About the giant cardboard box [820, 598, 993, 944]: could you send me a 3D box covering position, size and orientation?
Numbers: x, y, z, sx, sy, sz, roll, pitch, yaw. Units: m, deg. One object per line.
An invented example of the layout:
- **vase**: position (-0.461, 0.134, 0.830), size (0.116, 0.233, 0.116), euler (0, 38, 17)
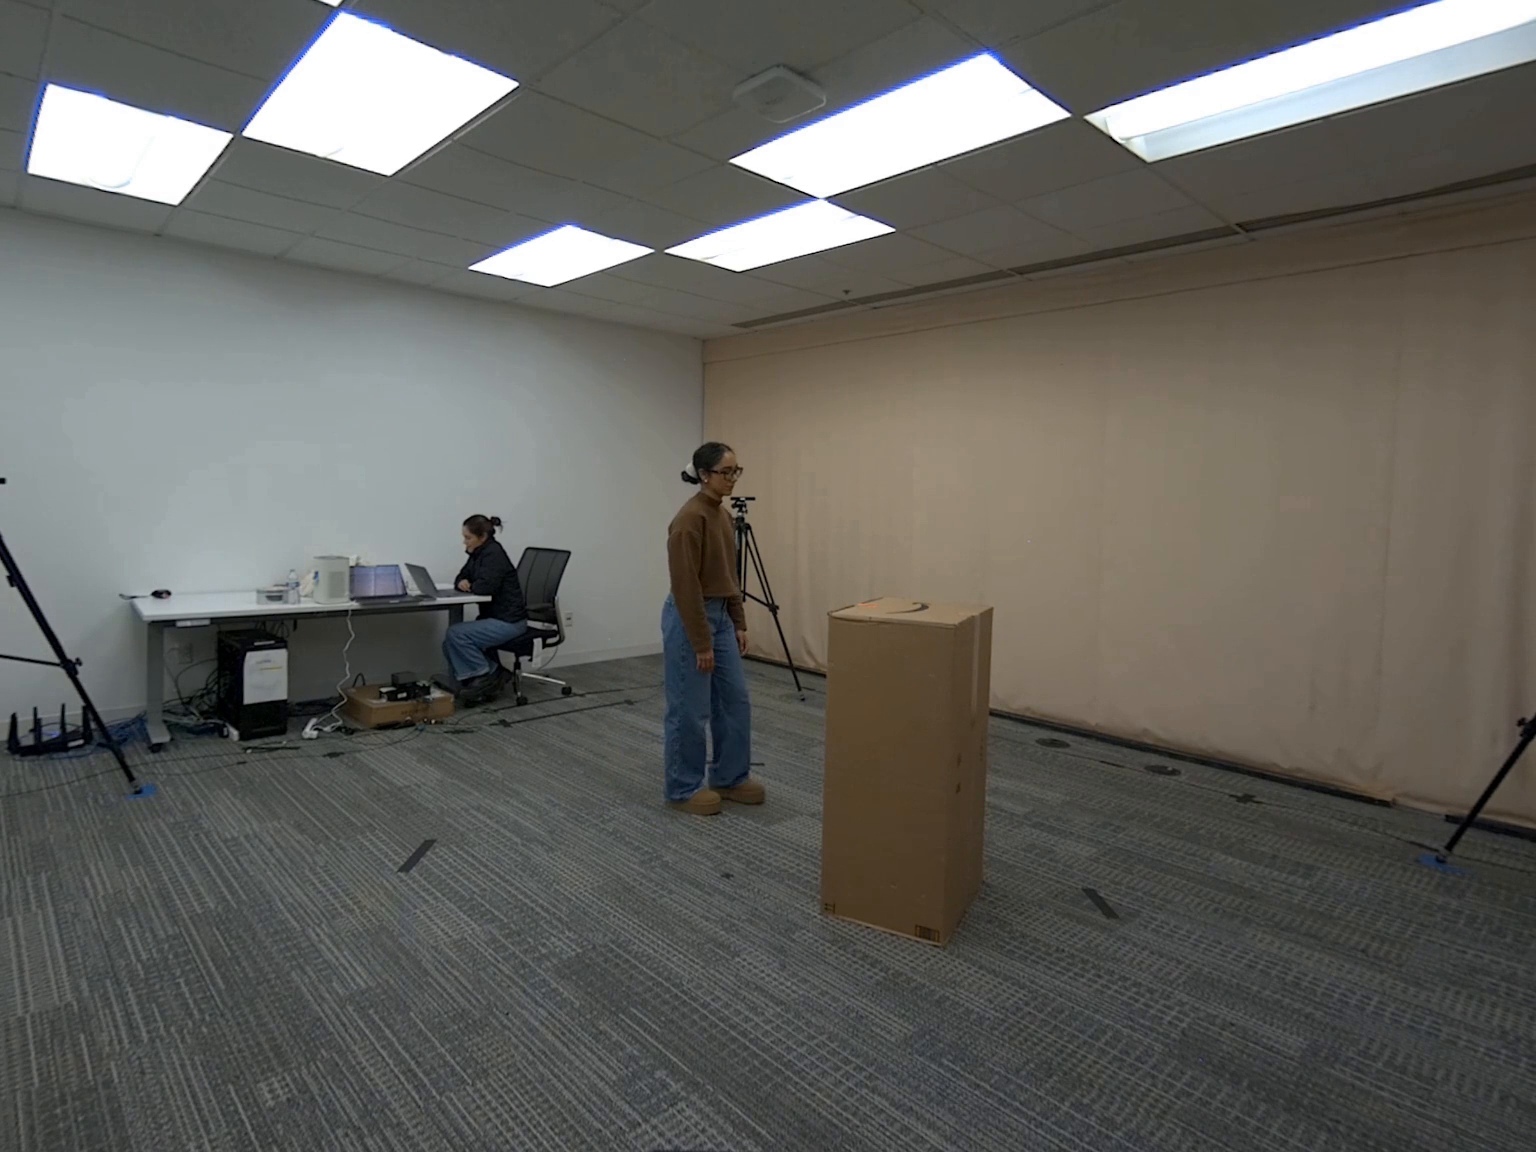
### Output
- **giant cardboard box**: position (0.494, 0.624, 2.949), size (0.435, 1.023, 0.567), euler (3, 4, 28)
